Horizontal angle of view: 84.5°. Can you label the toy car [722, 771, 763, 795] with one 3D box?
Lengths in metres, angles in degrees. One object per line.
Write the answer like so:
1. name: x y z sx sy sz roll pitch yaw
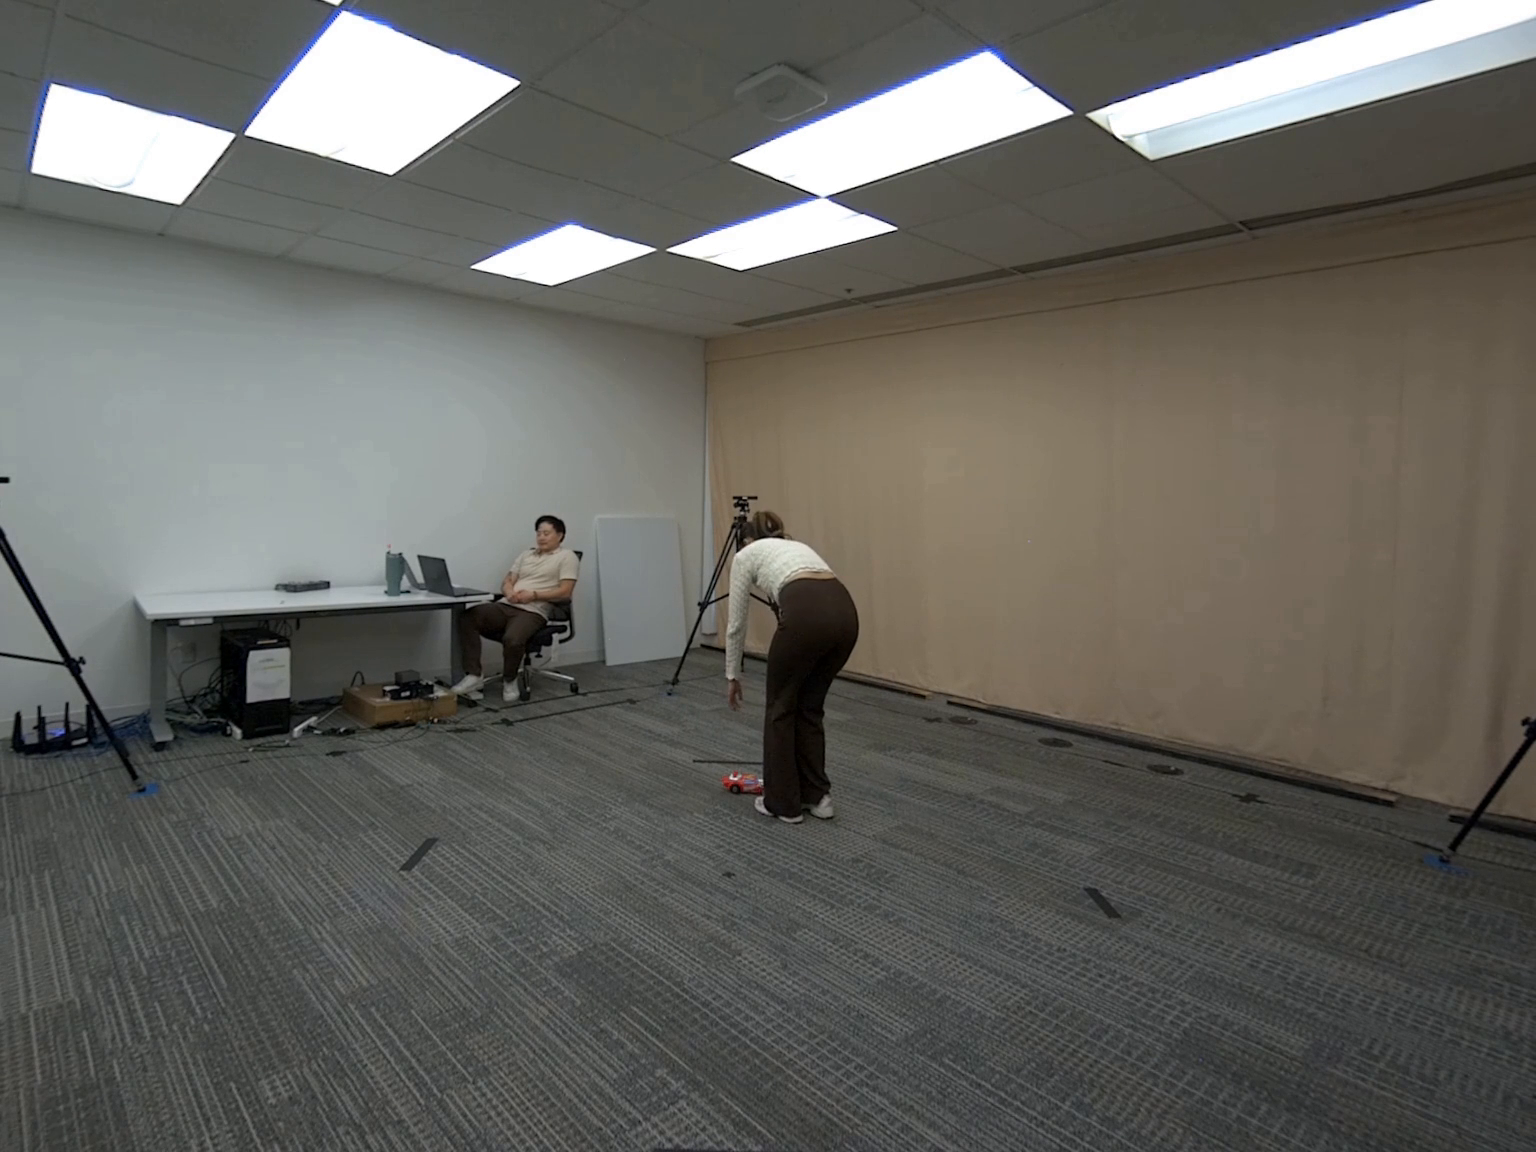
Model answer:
1. toy car: -0.110 0.993 4.014 0.257 0.083 0.129 14 7 9
